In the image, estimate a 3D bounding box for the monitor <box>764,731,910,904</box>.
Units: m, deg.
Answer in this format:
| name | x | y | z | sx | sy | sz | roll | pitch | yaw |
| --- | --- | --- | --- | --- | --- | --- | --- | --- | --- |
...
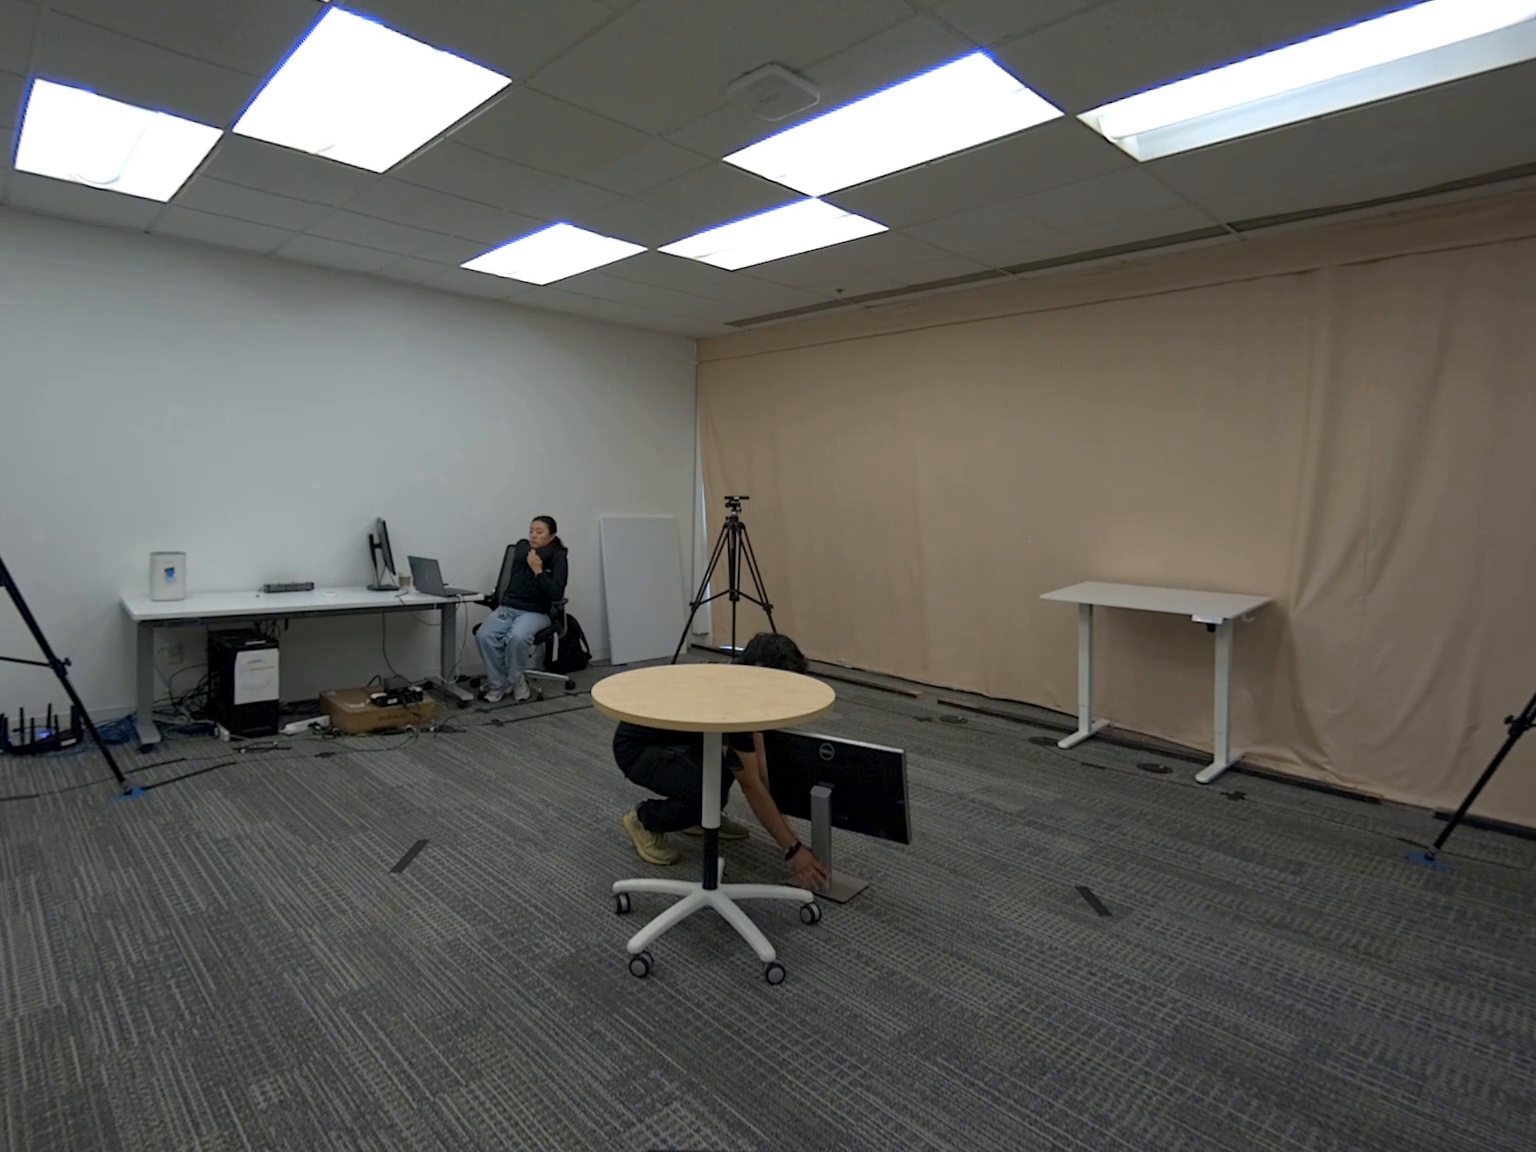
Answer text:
| name | x | y | z | sx | sy | sz | roll | pitch | yaw |
| --- | --- | --- | --- | --- | --- | --- | --- | --- | --- |
| monitor | 0.204 | 0.850 | 3.014 | 0.578 | 0.550 | 0.206 | 4 | 10 | 33 |
